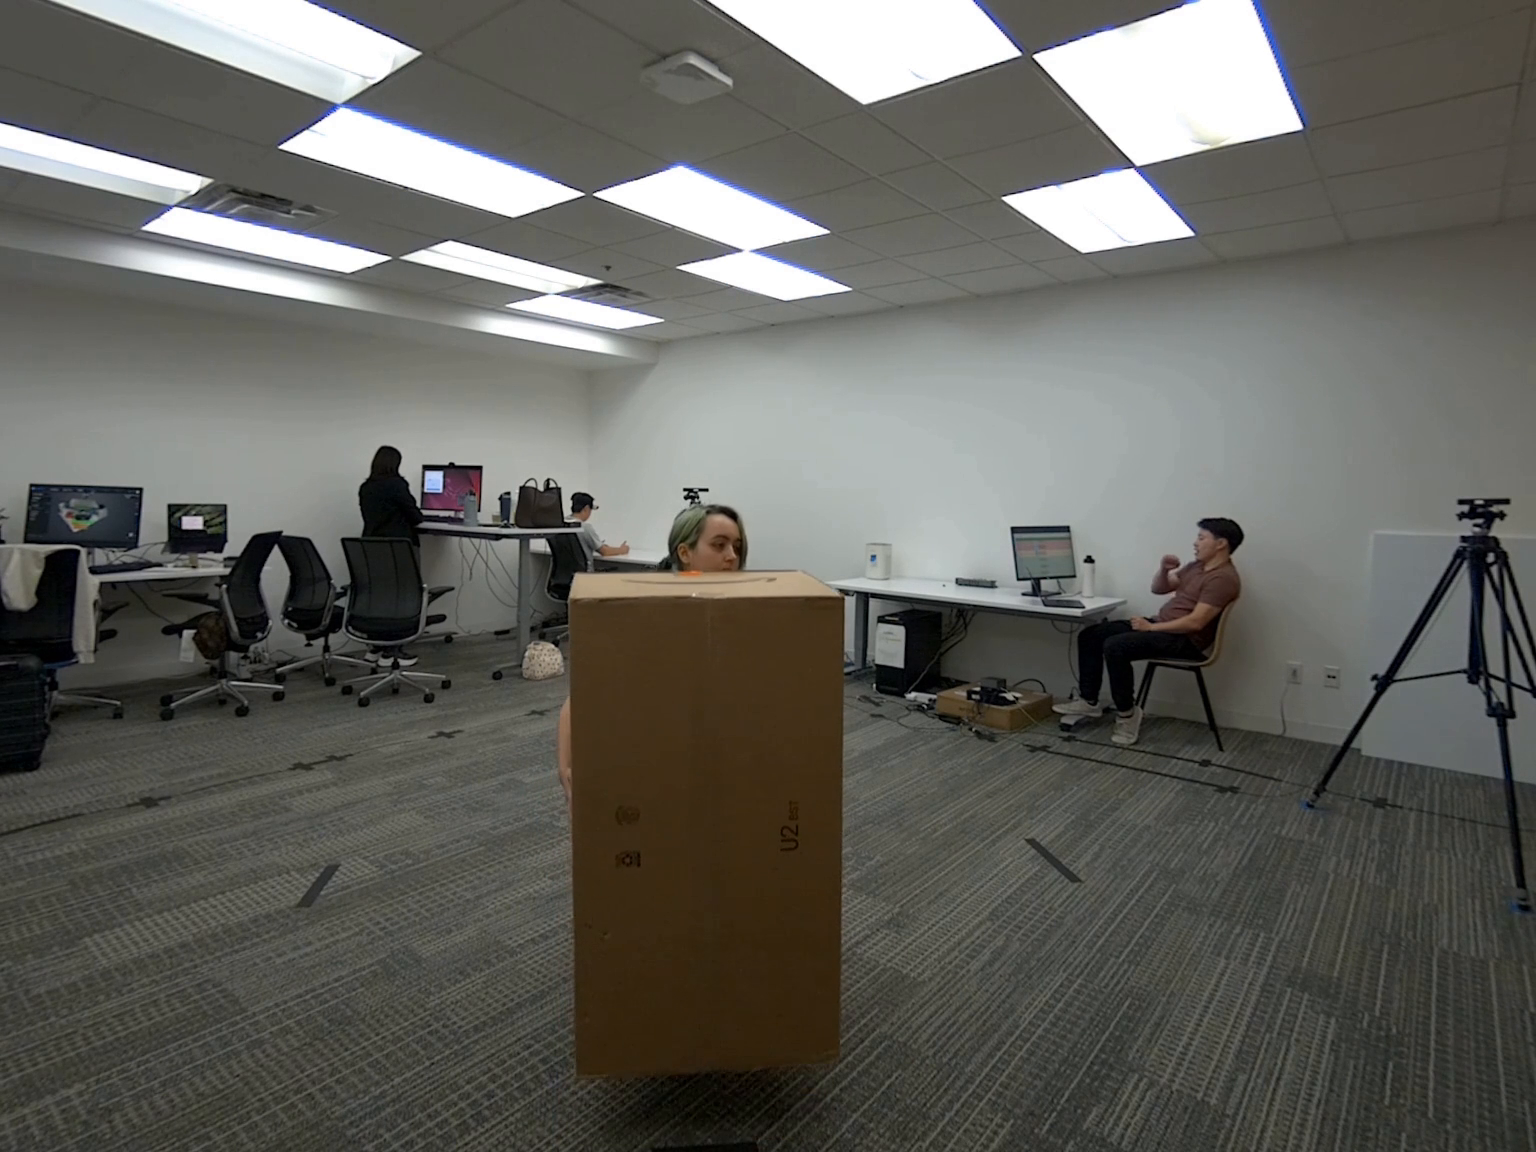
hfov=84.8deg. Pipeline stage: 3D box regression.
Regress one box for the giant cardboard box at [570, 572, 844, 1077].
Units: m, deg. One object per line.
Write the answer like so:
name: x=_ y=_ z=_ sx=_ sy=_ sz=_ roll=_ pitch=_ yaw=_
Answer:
giant cardboard box: x=-0.169 y=0.522 z=1.976 sx=0.579 sy=1.022 sz=0.453 roll=0 pitch=5 yaw=-8
